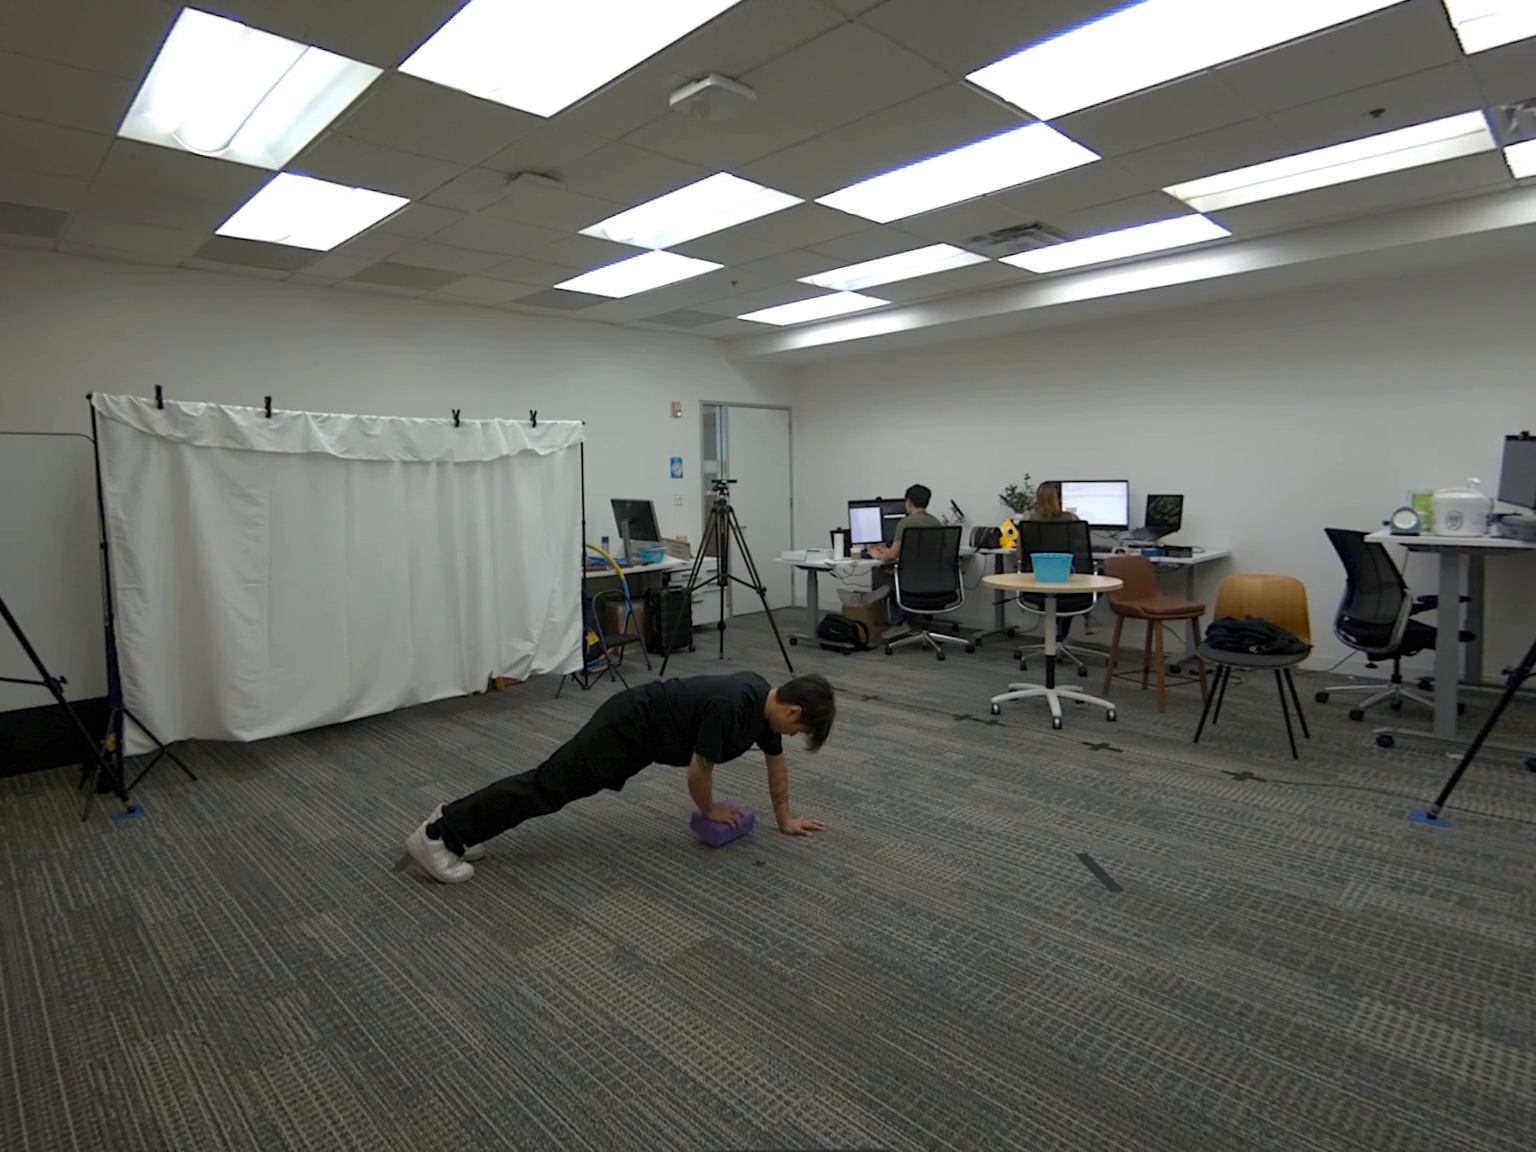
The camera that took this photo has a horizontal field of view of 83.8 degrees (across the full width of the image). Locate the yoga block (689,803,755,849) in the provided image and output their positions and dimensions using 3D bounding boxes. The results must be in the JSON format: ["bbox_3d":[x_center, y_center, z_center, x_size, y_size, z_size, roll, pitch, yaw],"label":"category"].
[{"bbox_3d":[-0.178,0.957,3.333,0.154,0.076,0.223,20,17,36],"label":"yoga block"}]
